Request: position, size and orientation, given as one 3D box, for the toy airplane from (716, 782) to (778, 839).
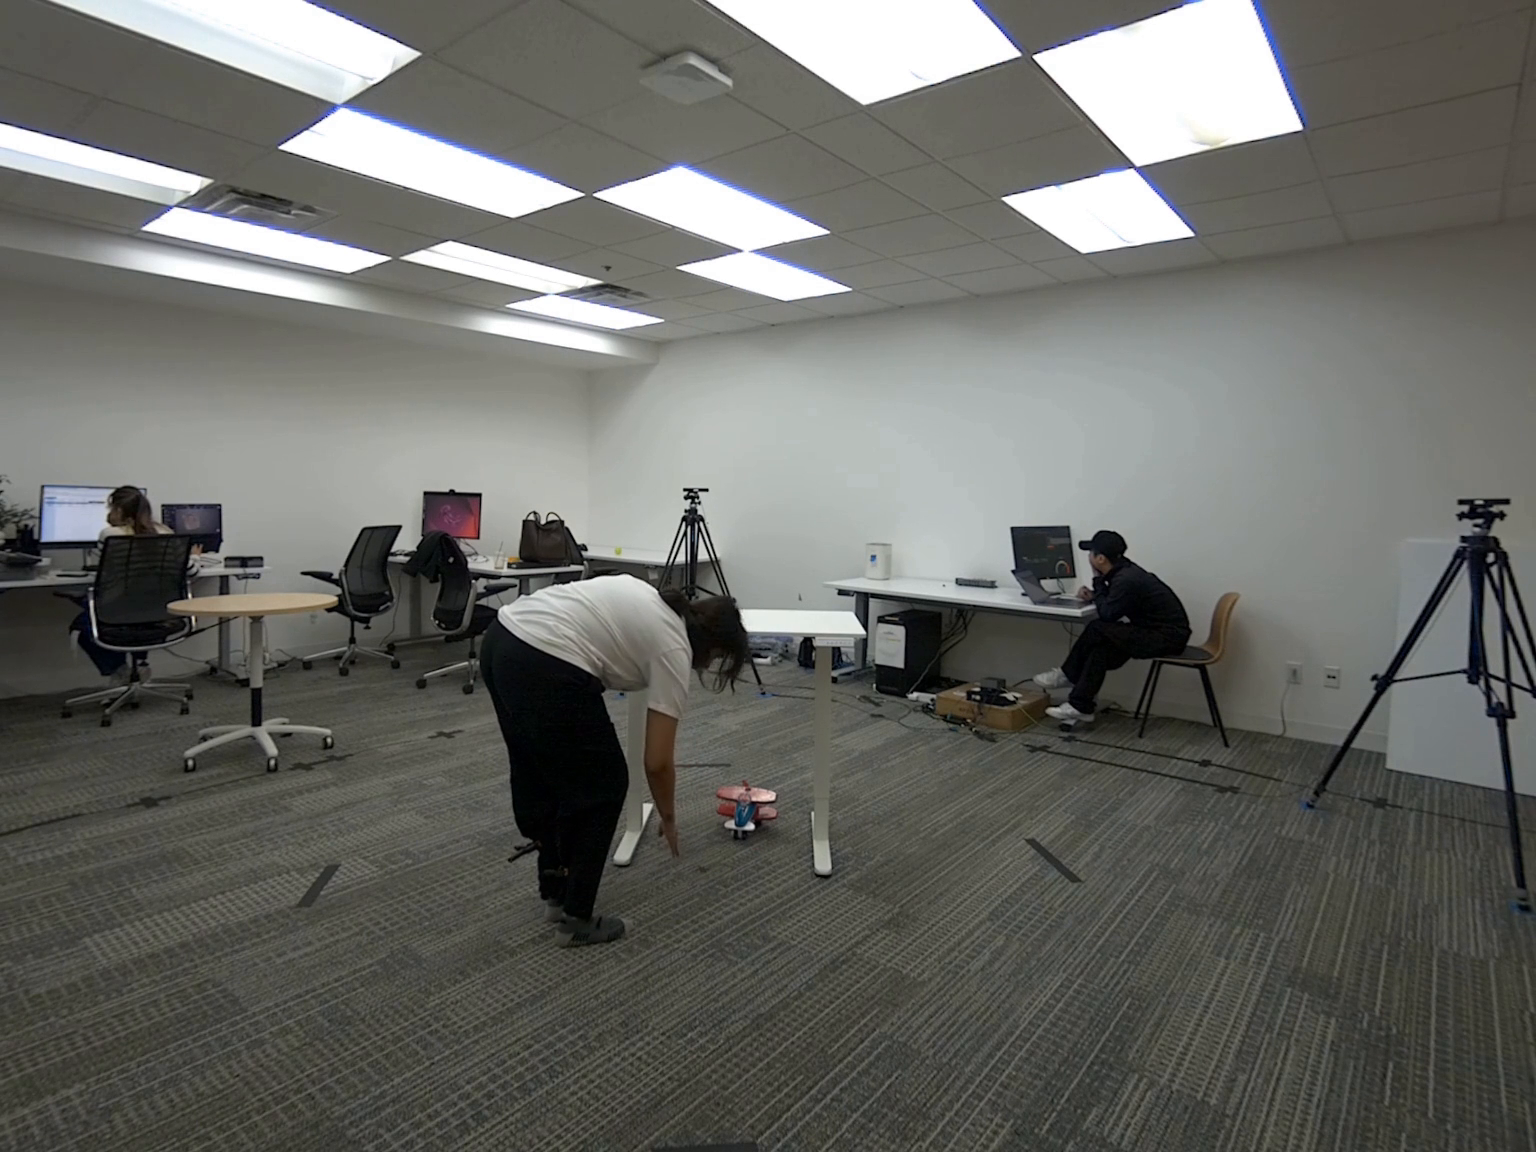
[{"bbox_3d":[-0.086,0.963,3.477,0.247,0.156,0.264,0,4,-16],"label":"toy airplane"}]
